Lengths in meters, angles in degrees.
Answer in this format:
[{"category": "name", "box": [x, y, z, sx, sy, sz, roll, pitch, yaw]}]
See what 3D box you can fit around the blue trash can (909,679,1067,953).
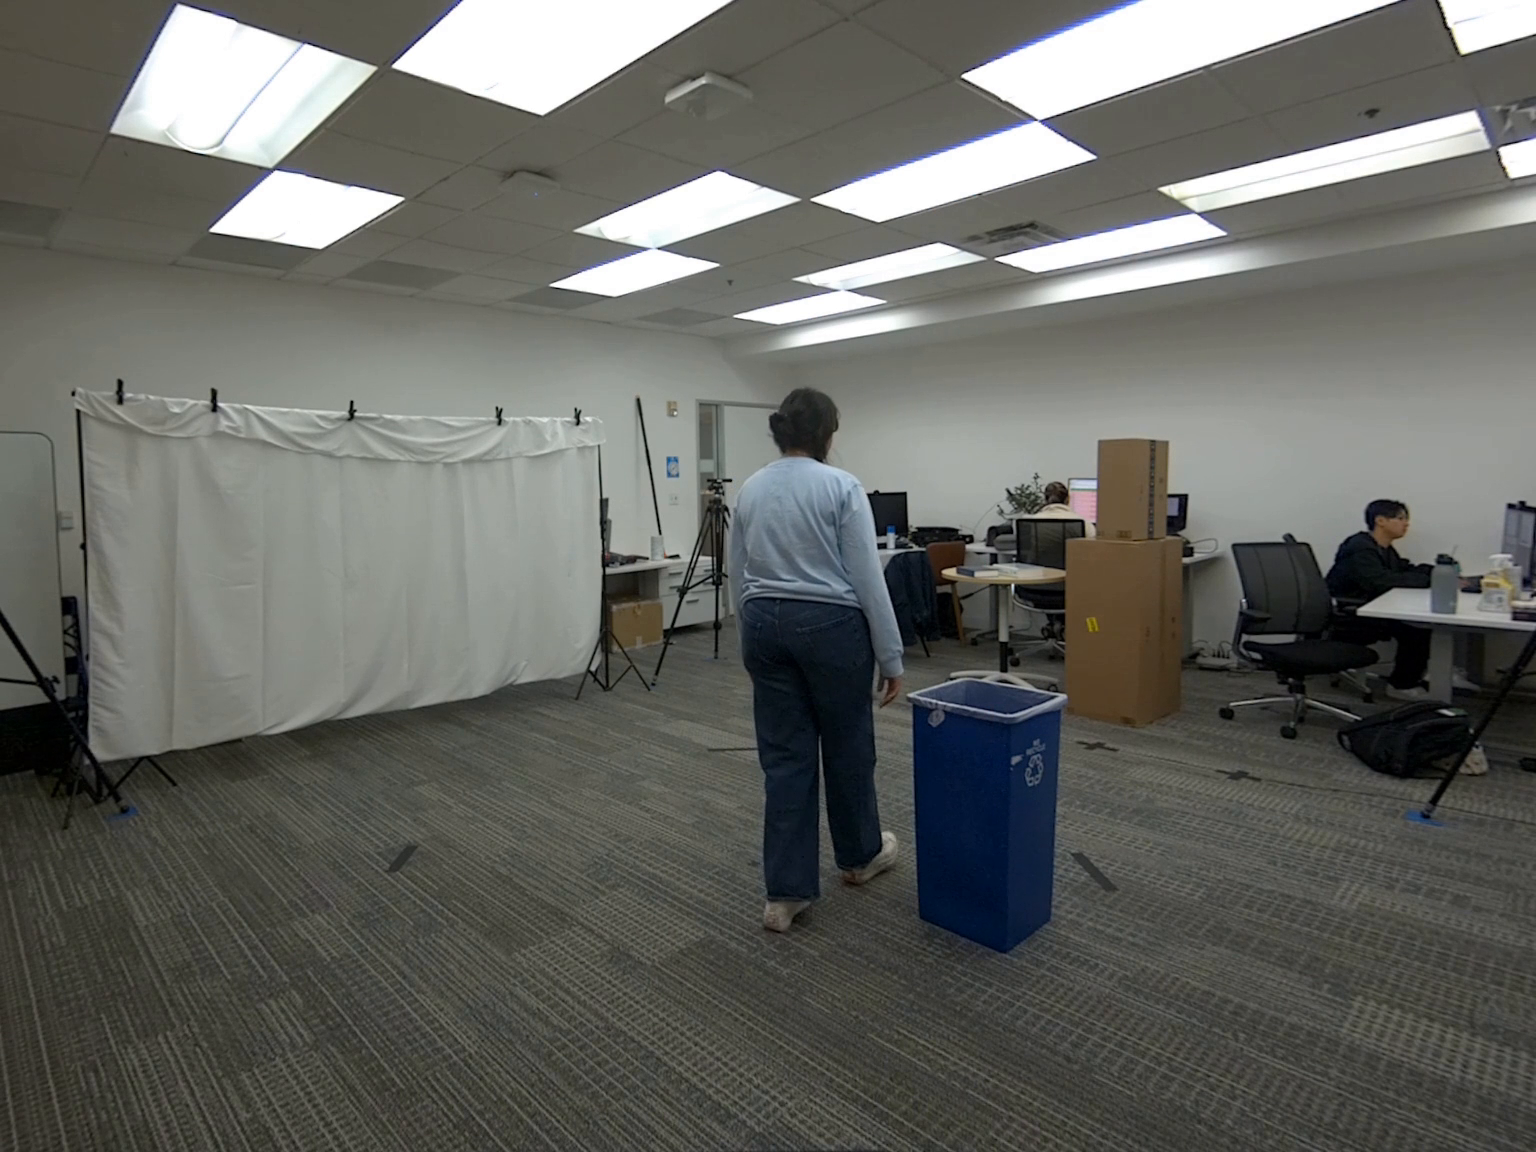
[{"category": "blue trash can", "box": [0.688, 0.723, 2.677, 0.364, 0.711, 0.390, -5, 6, -45]}]
